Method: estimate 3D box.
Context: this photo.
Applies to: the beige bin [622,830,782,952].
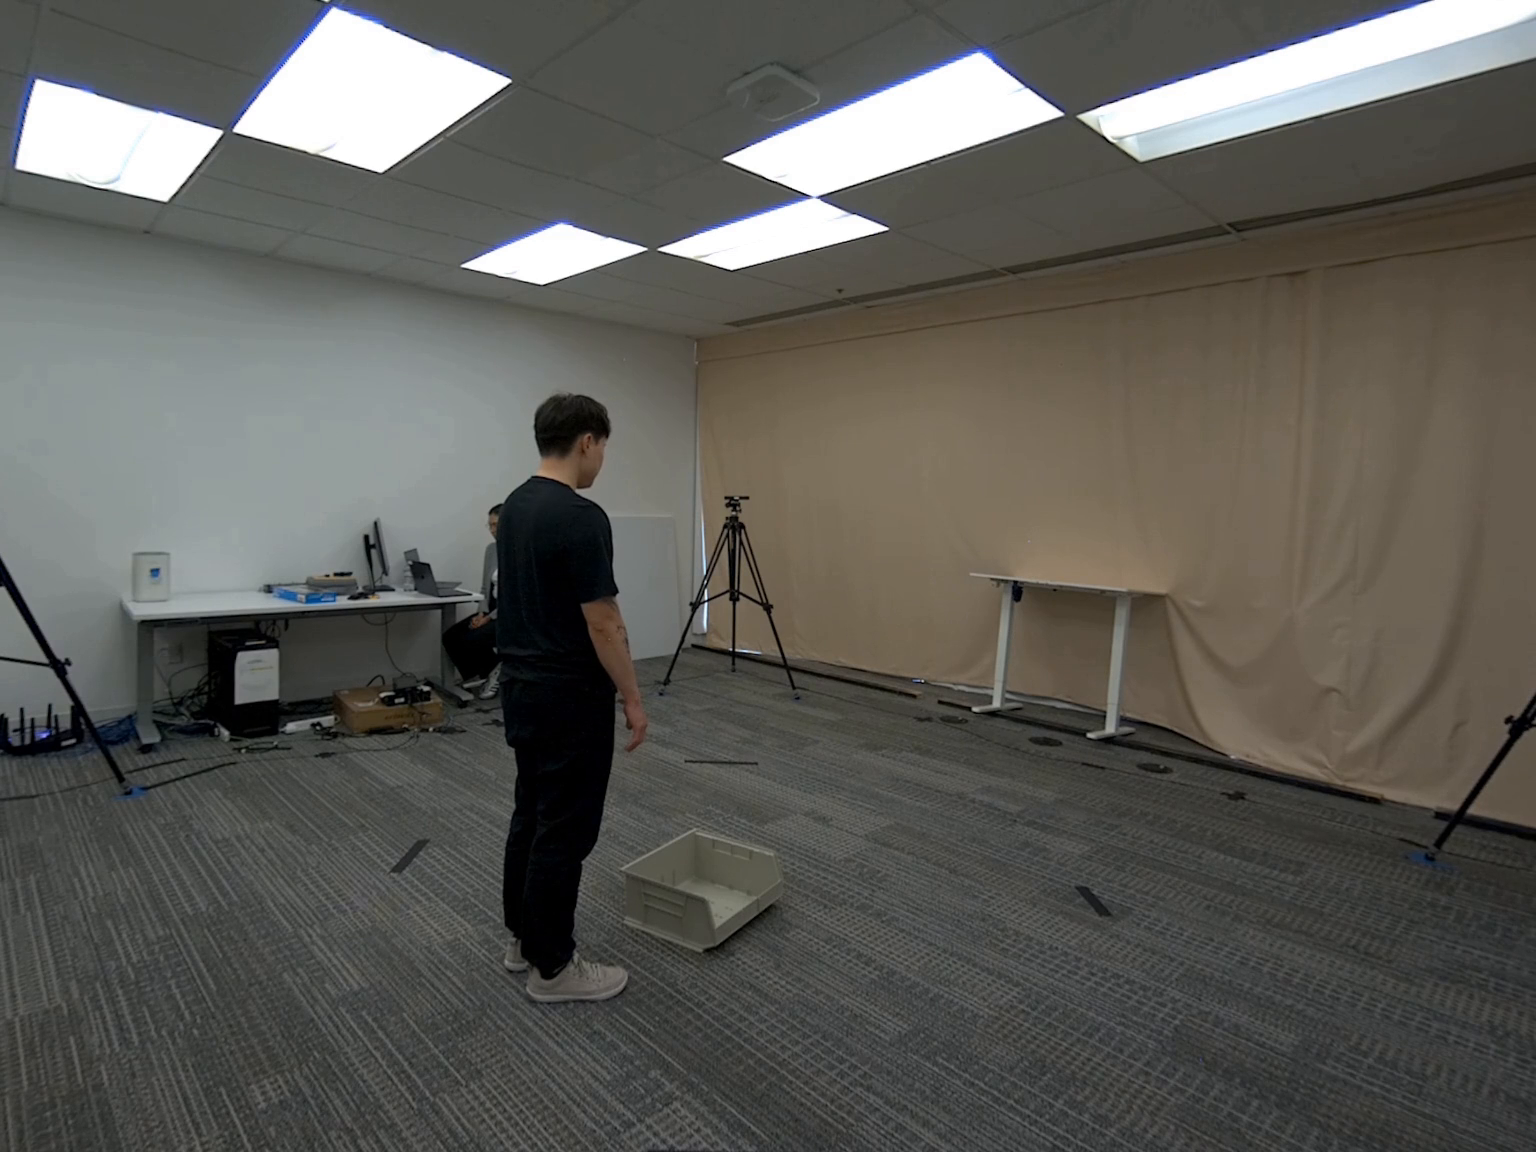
[{"bbox_3d":[-0.218,1.042,2.804,0.386,0.188,0.414,3,6,32],"label":"beige bin"}]
